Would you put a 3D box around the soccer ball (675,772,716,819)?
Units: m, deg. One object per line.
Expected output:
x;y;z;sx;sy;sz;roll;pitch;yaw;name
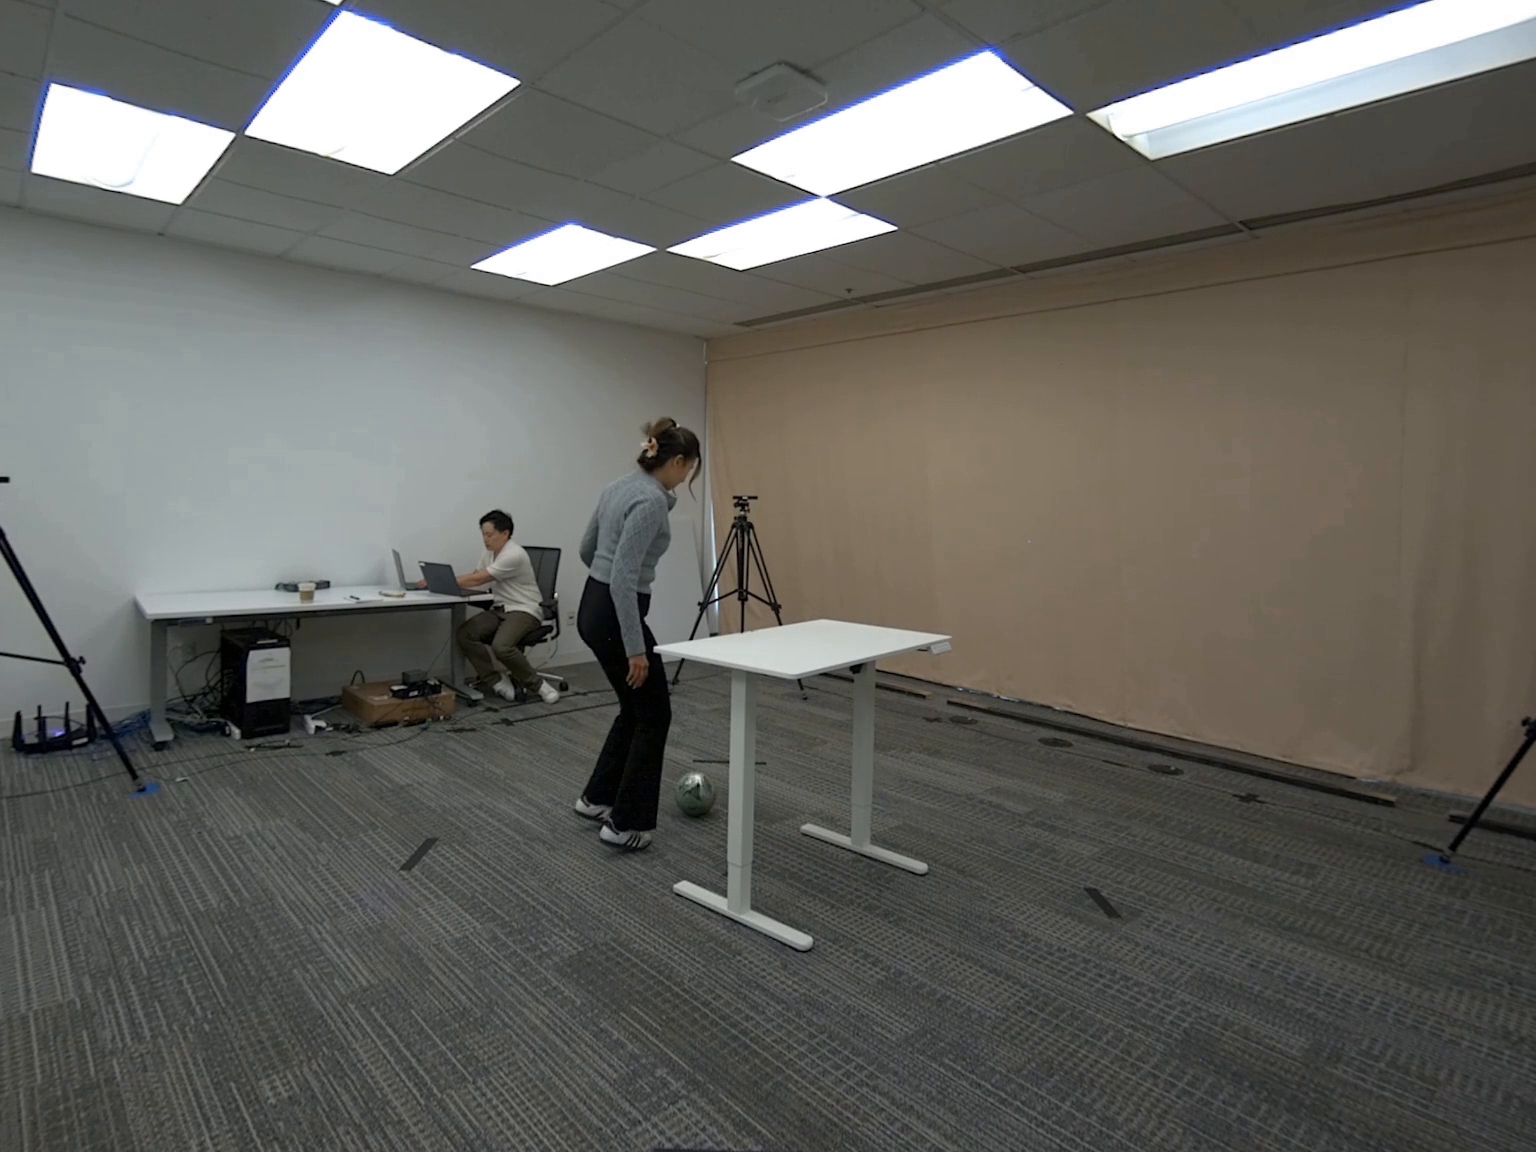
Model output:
-0.328;0.949;3.691;0.187;0.187;0.188;1;4;-1;soccer ball
